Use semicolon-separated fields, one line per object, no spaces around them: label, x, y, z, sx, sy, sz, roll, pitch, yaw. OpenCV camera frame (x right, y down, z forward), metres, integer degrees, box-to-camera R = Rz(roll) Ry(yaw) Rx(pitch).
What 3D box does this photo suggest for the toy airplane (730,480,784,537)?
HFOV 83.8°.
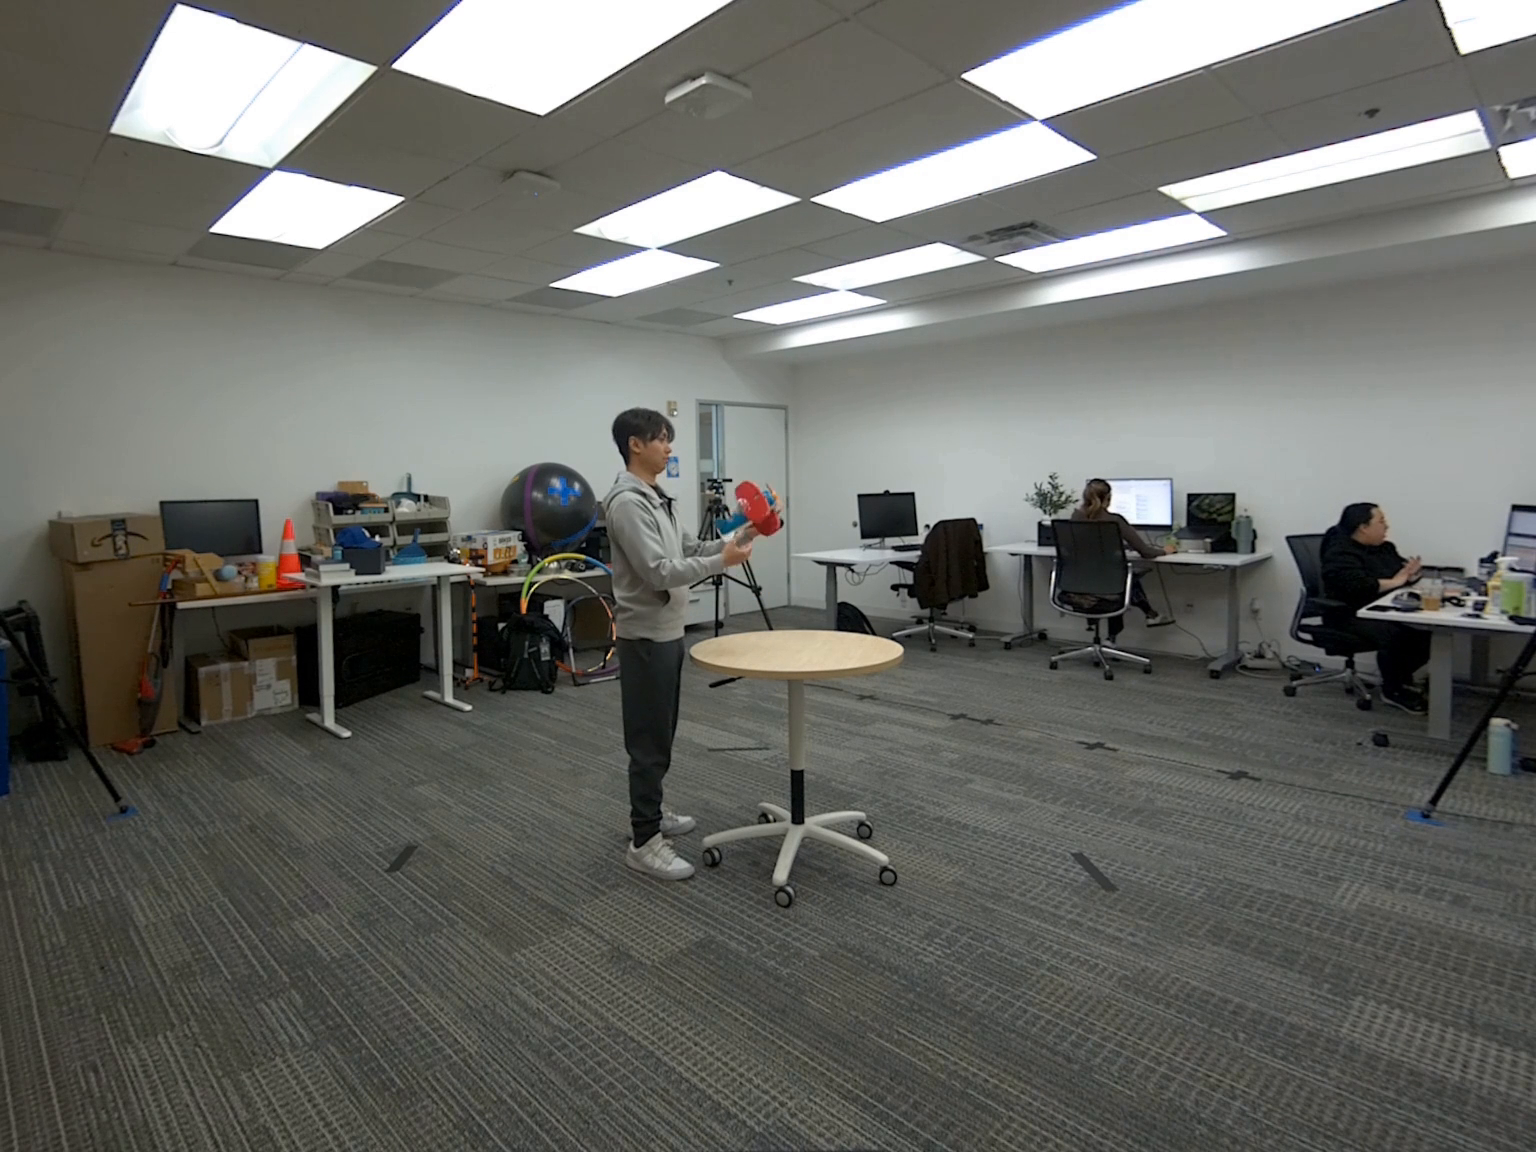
toy airplane;-0.072;-0.206;3.204;0.260;0.151;0.259;21;55;39
